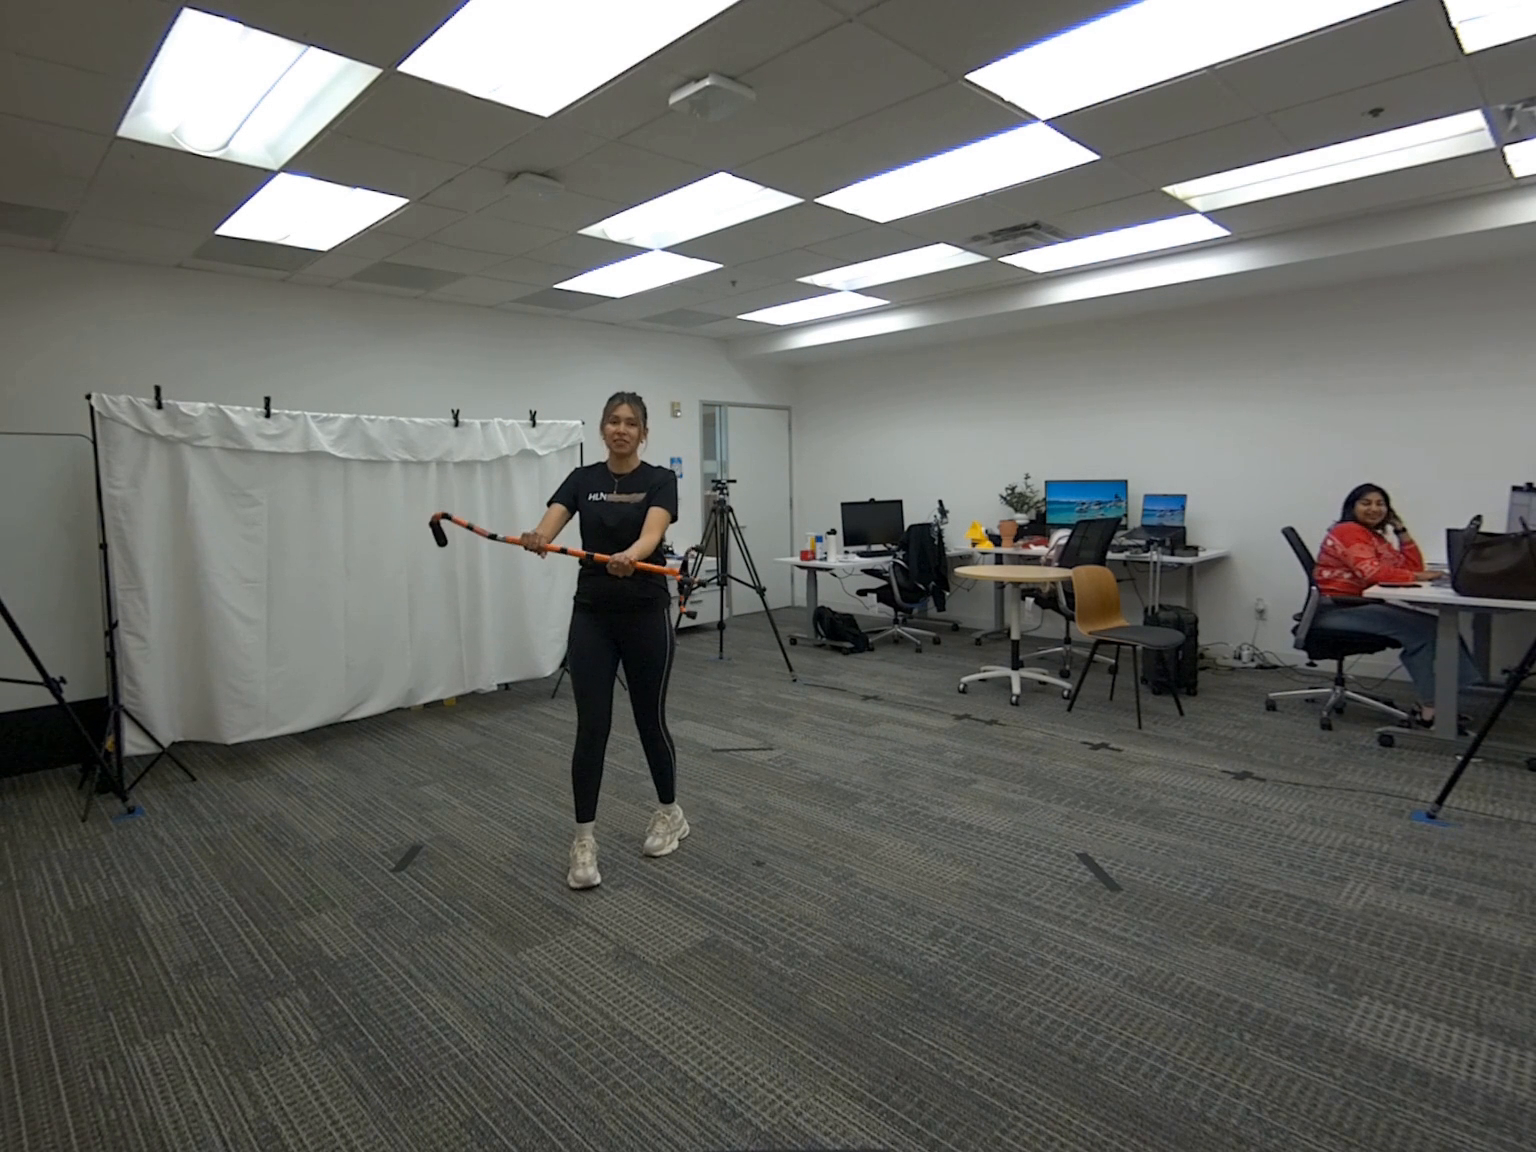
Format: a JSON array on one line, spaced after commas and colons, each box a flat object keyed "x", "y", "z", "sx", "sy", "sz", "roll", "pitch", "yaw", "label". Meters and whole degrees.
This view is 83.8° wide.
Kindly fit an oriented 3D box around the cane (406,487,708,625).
[{"x": -0.649, "y": -0.067, "z": 2.667, "sx": 0.917, "sy": 0.154, "sz": 0.201, "roll": 12, "pitch": -38, "yaw": 8, "label": "cane"}]
